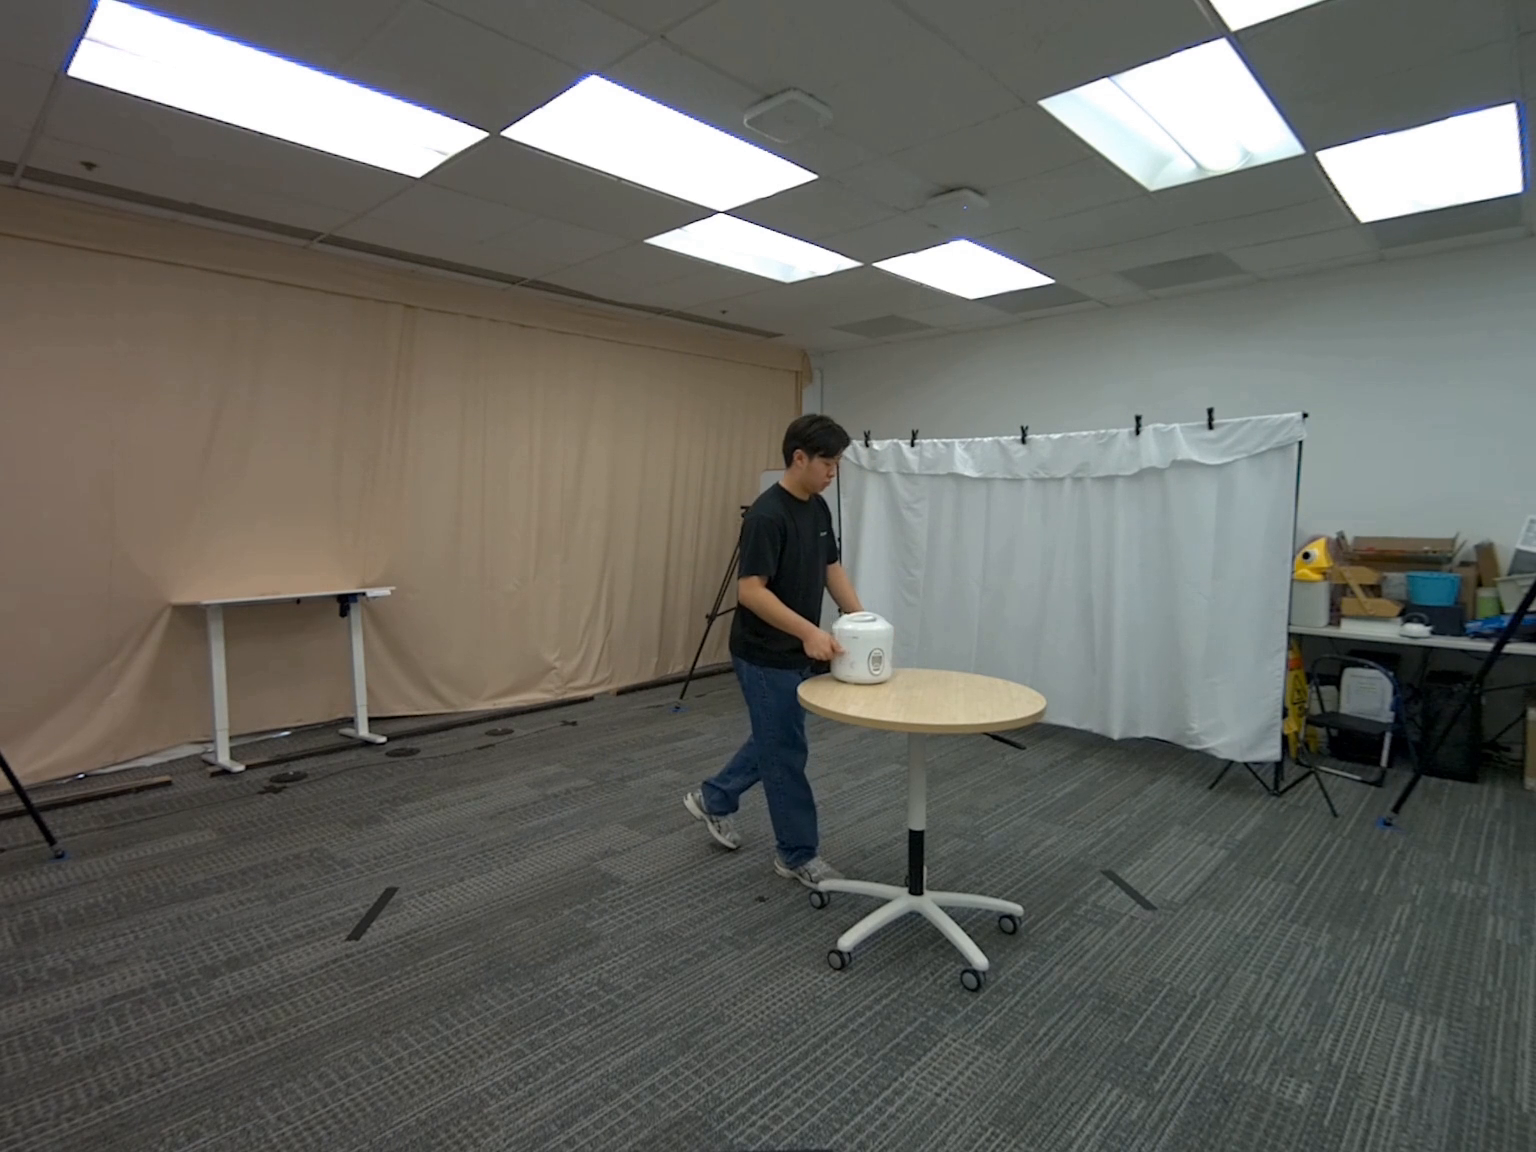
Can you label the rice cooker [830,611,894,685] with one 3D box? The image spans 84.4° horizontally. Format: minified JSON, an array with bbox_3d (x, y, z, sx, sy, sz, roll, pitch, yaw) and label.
[{"bbox_3d":[0.328,0.242,2.864,0.216,0.232,0.222,-2,4,-22],"label":"rice cooker"}]
